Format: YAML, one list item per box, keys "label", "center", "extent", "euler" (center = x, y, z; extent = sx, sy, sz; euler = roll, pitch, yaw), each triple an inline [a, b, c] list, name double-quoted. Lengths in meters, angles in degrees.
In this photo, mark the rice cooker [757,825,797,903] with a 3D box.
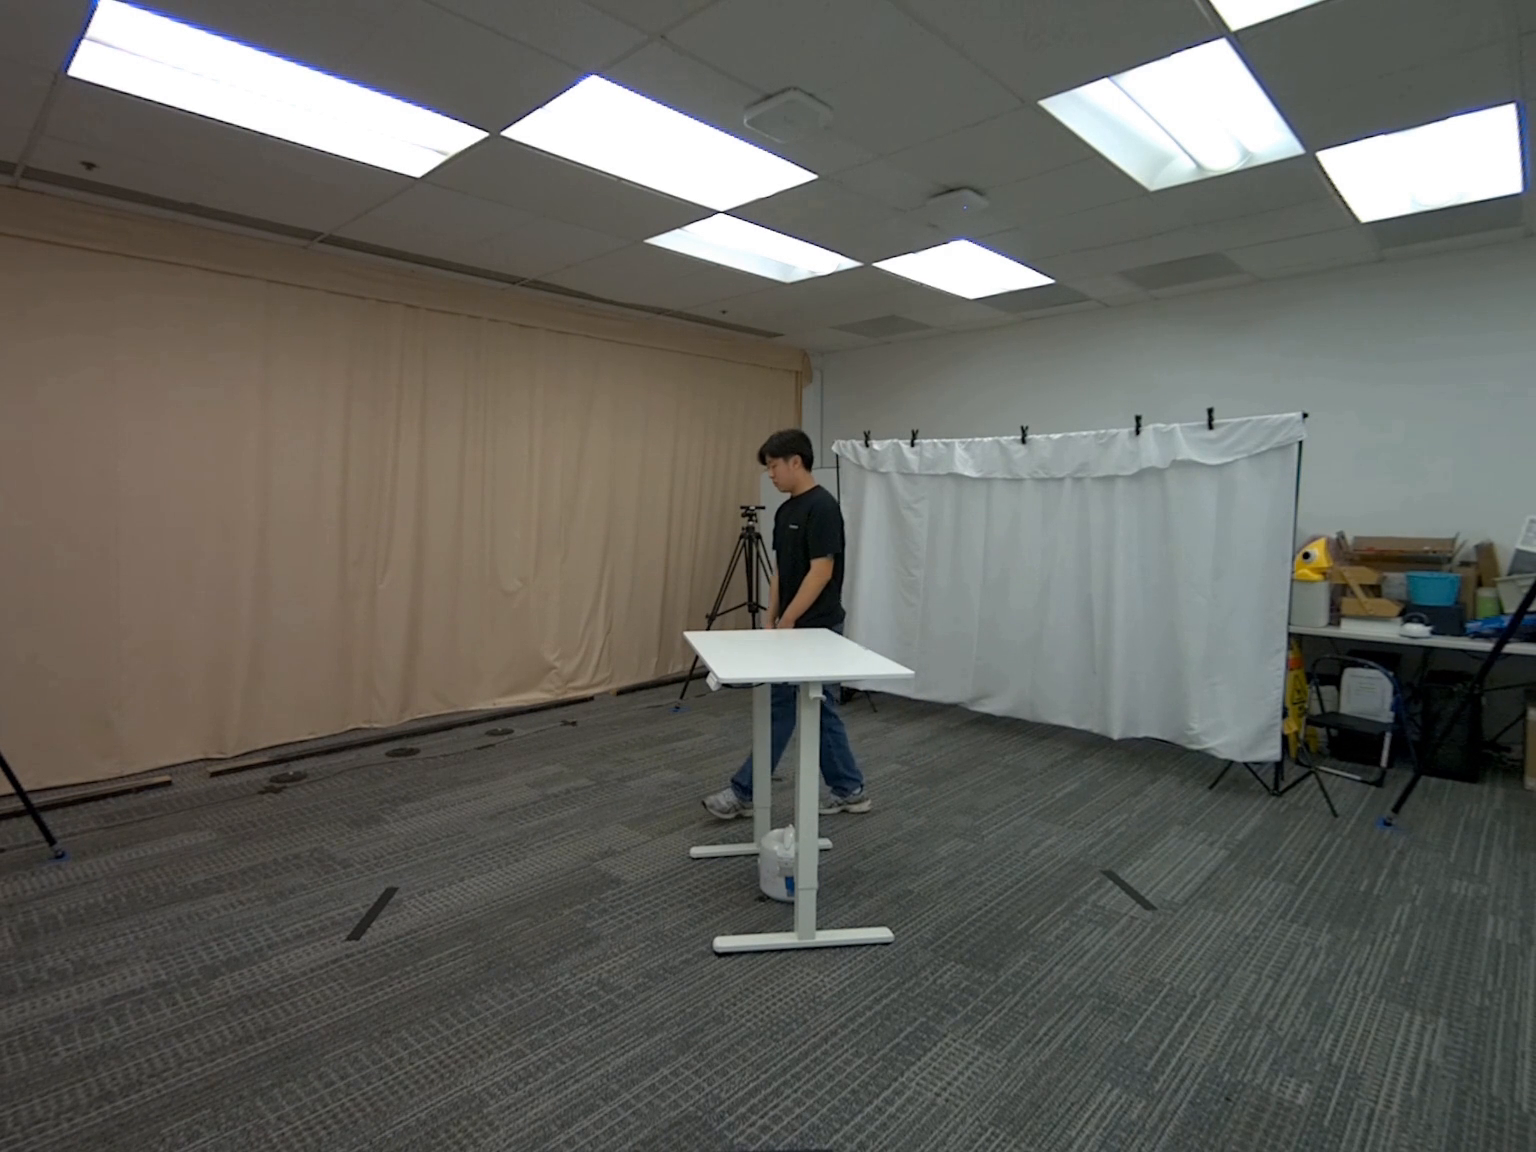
- label: "rice cooker"
  center: [0.073, 1.015, 3.025]
  extent: [0.220, 0.232, 0.219]
  euler: [2, 4, 9]
